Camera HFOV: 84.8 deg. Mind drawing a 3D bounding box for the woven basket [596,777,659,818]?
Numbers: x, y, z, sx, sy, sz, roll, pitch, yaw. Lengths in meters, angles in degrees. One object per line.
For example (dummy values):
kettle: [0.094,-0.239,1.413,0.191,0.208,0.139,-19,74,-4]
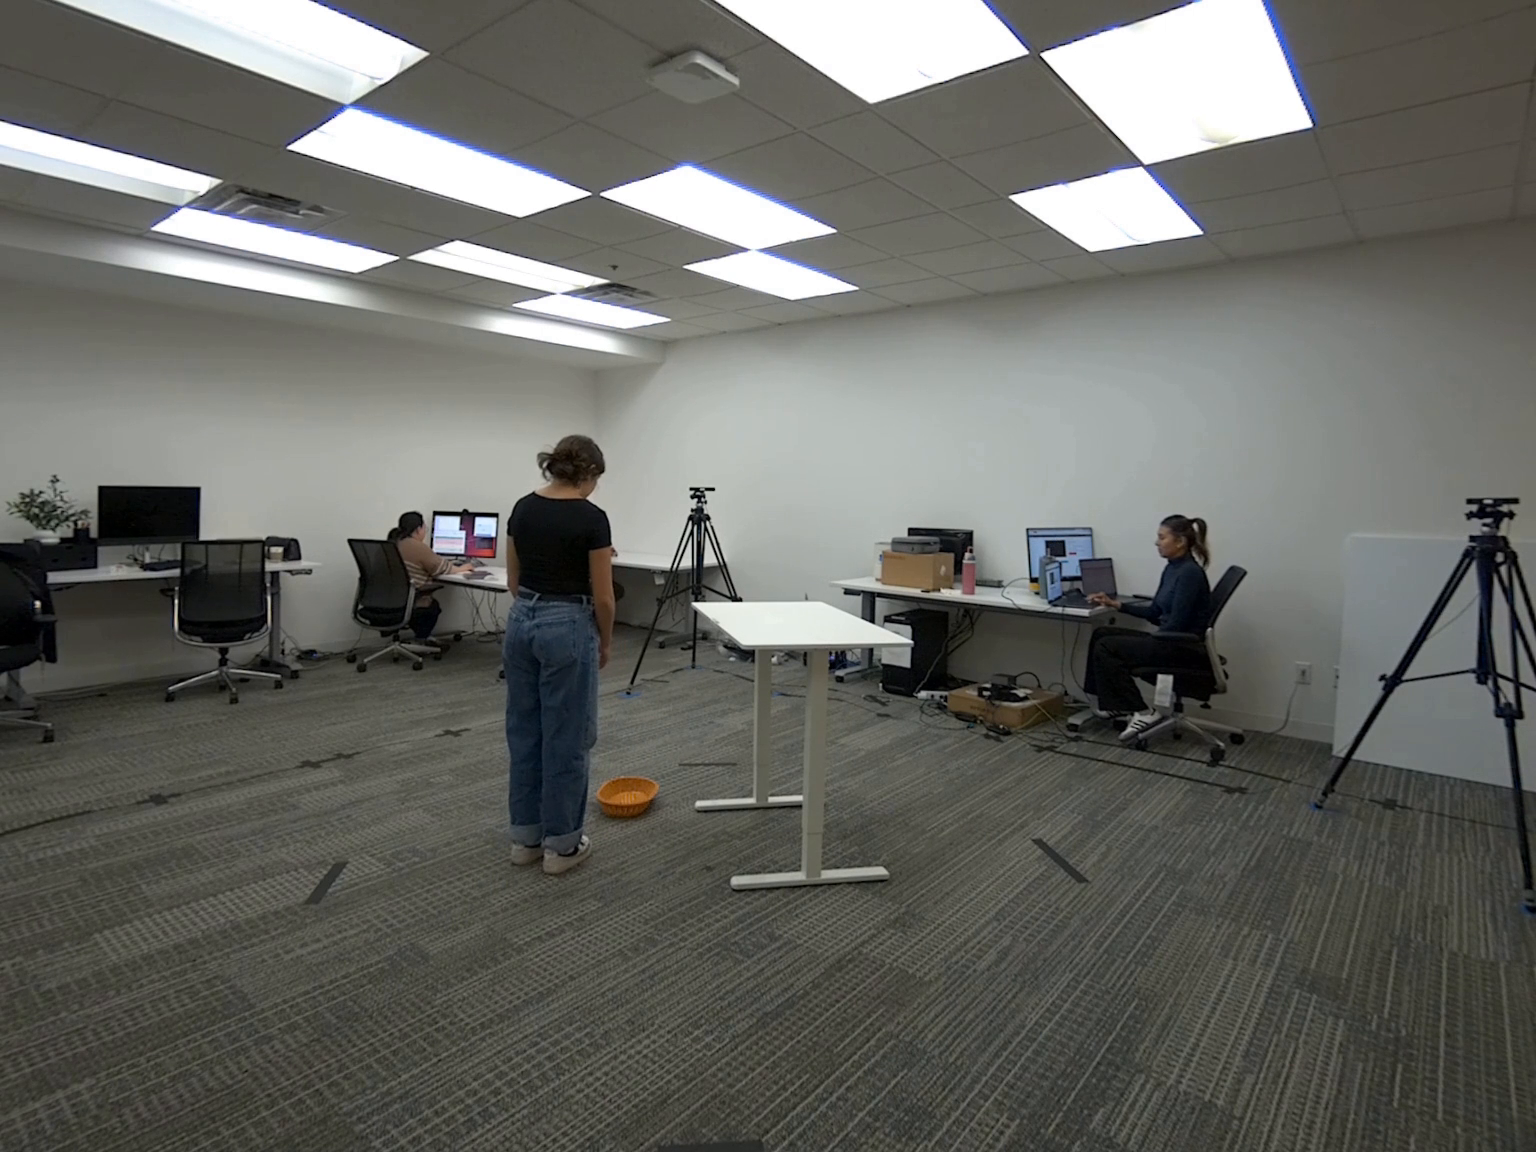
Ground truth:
woven basket: [-0.626,0.962,3.709,0.255,0.073,0.347,3,5,9]
